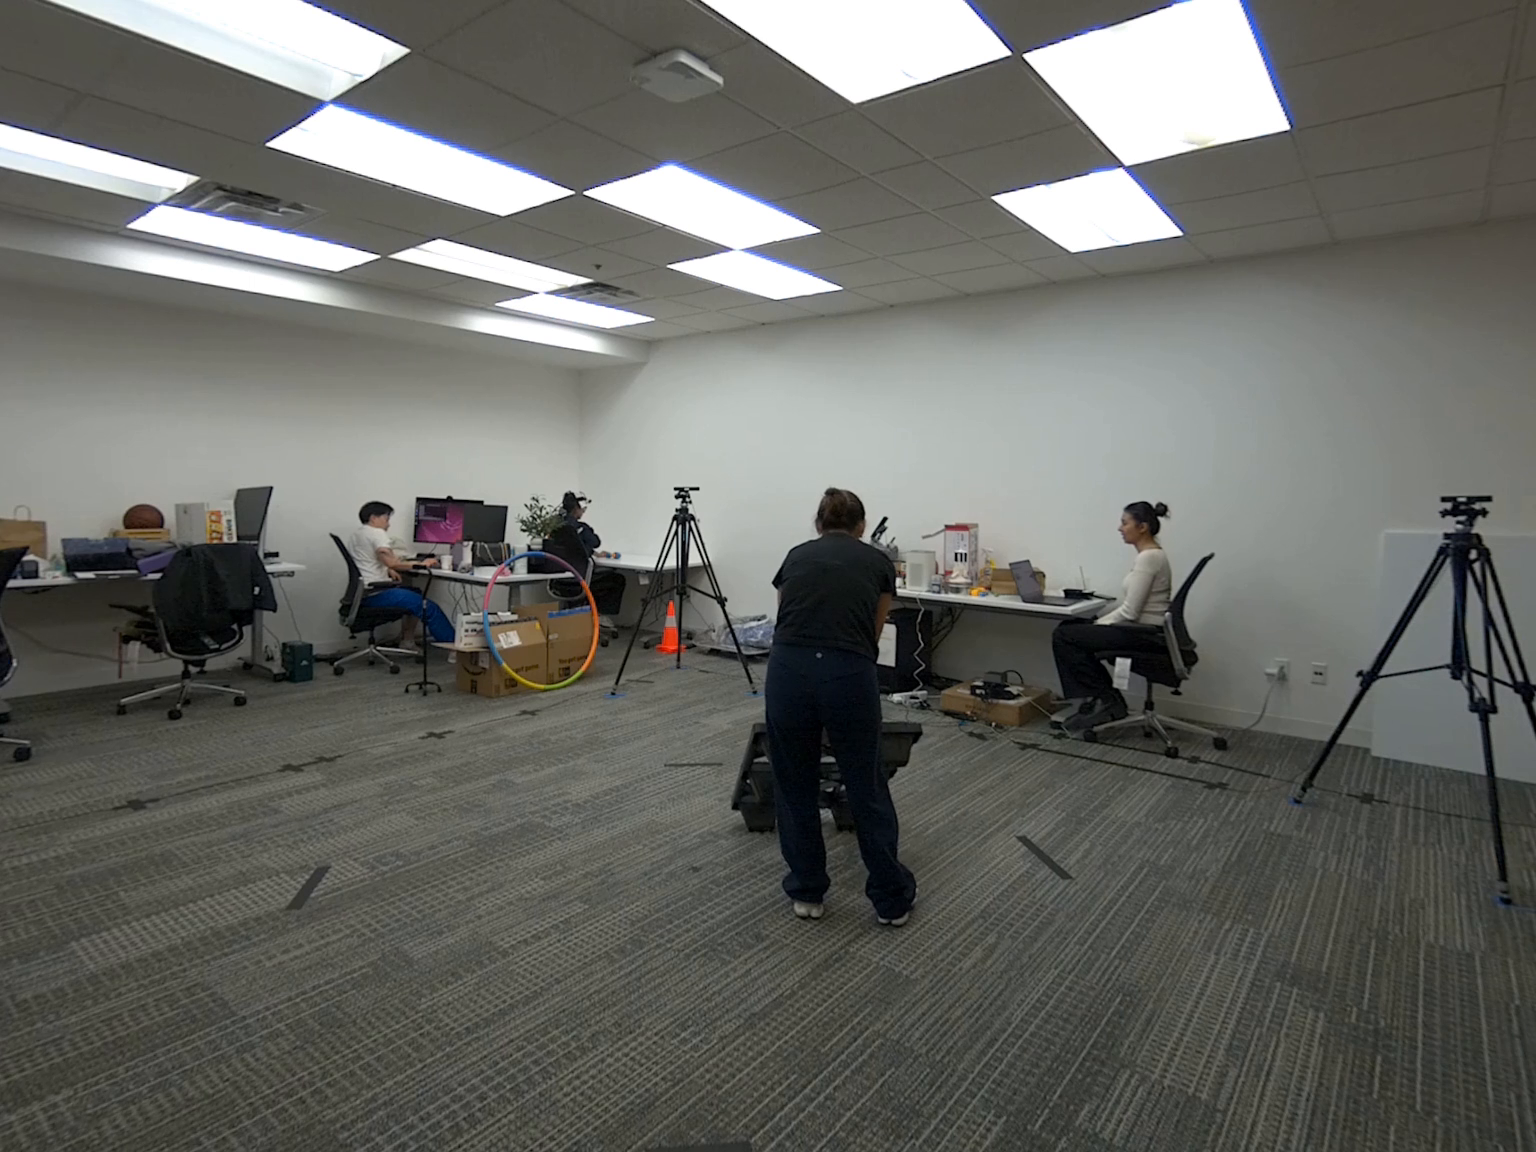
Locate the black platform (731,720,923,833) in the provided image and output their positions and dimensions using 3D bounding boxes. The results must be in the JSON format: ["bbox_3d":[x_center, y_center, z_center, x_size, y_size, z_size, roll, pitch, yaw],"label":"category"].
[{"bbox_3d":[0.214,0.773,3.234,0.601,0.147,0.788,1,-35,-7],"label":"black platform"}]
